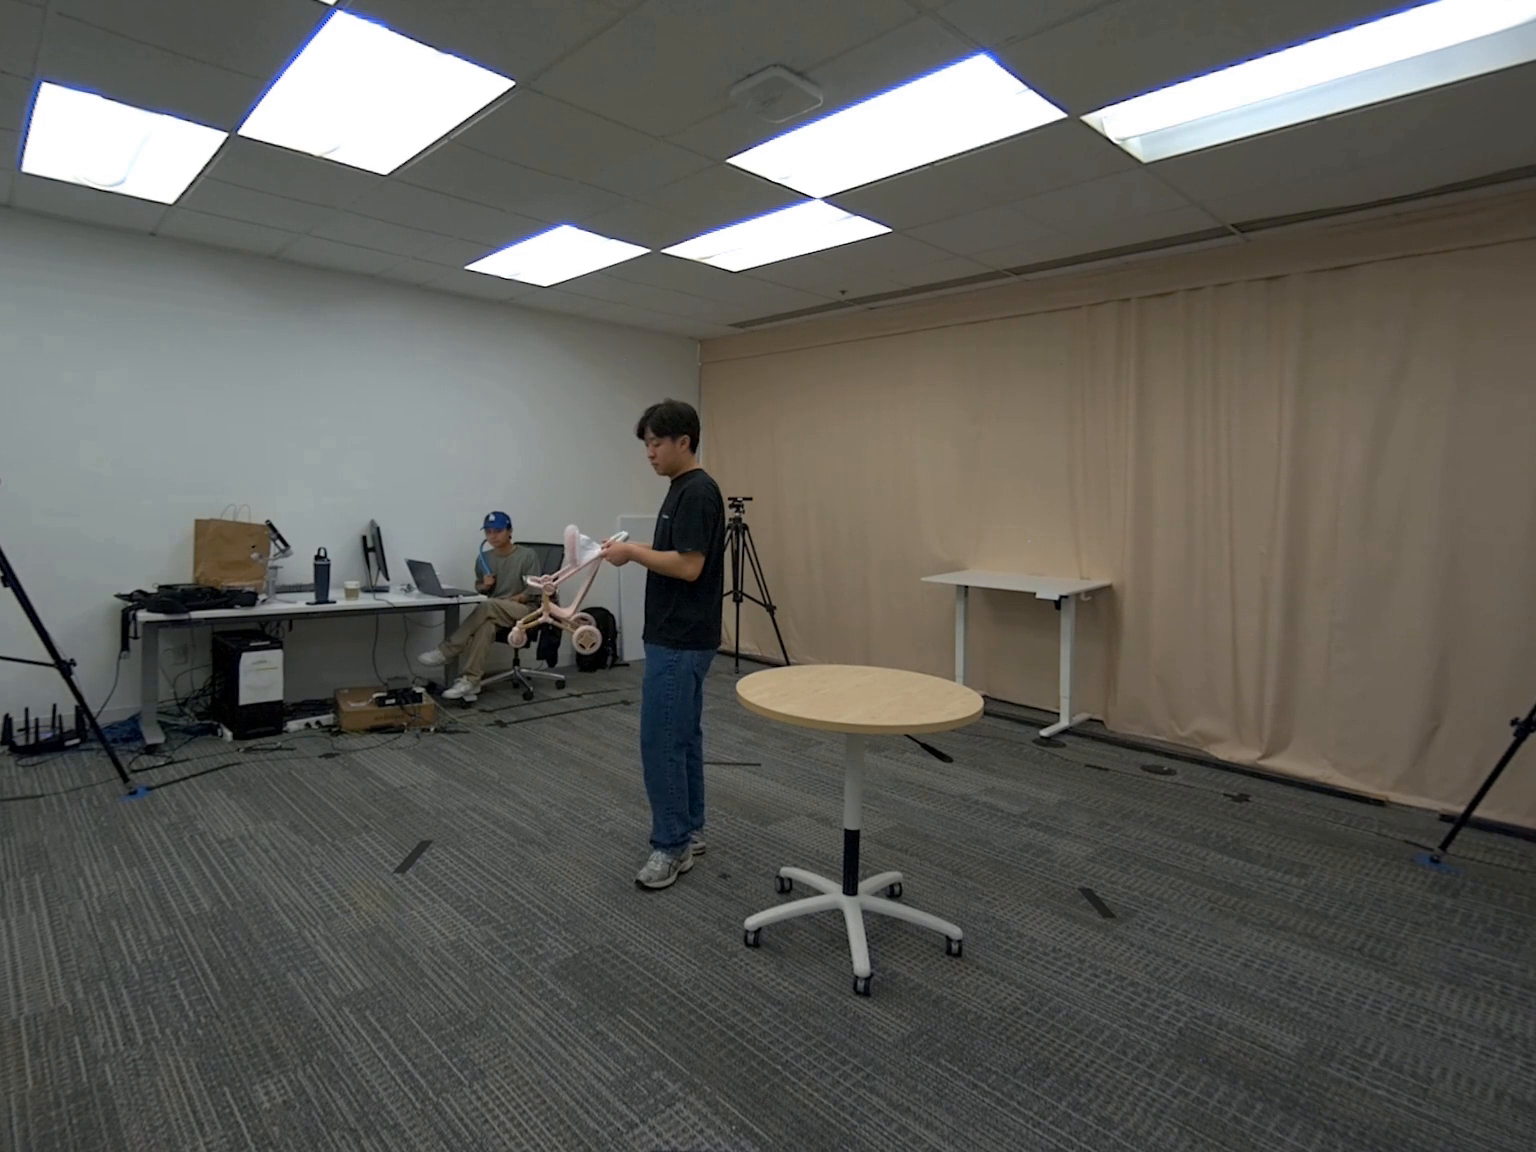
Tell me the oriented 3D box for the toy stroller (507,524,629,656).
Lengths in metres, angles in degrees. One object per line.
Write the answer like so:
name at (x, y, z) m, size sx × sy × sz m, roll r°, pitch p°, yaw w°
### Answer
toy stroller at (-0.769, 0.045, 3.221) m, size 0.338 × 0.534 × 0.285 m, roll 15°, pitch 3°, yaw -12°
